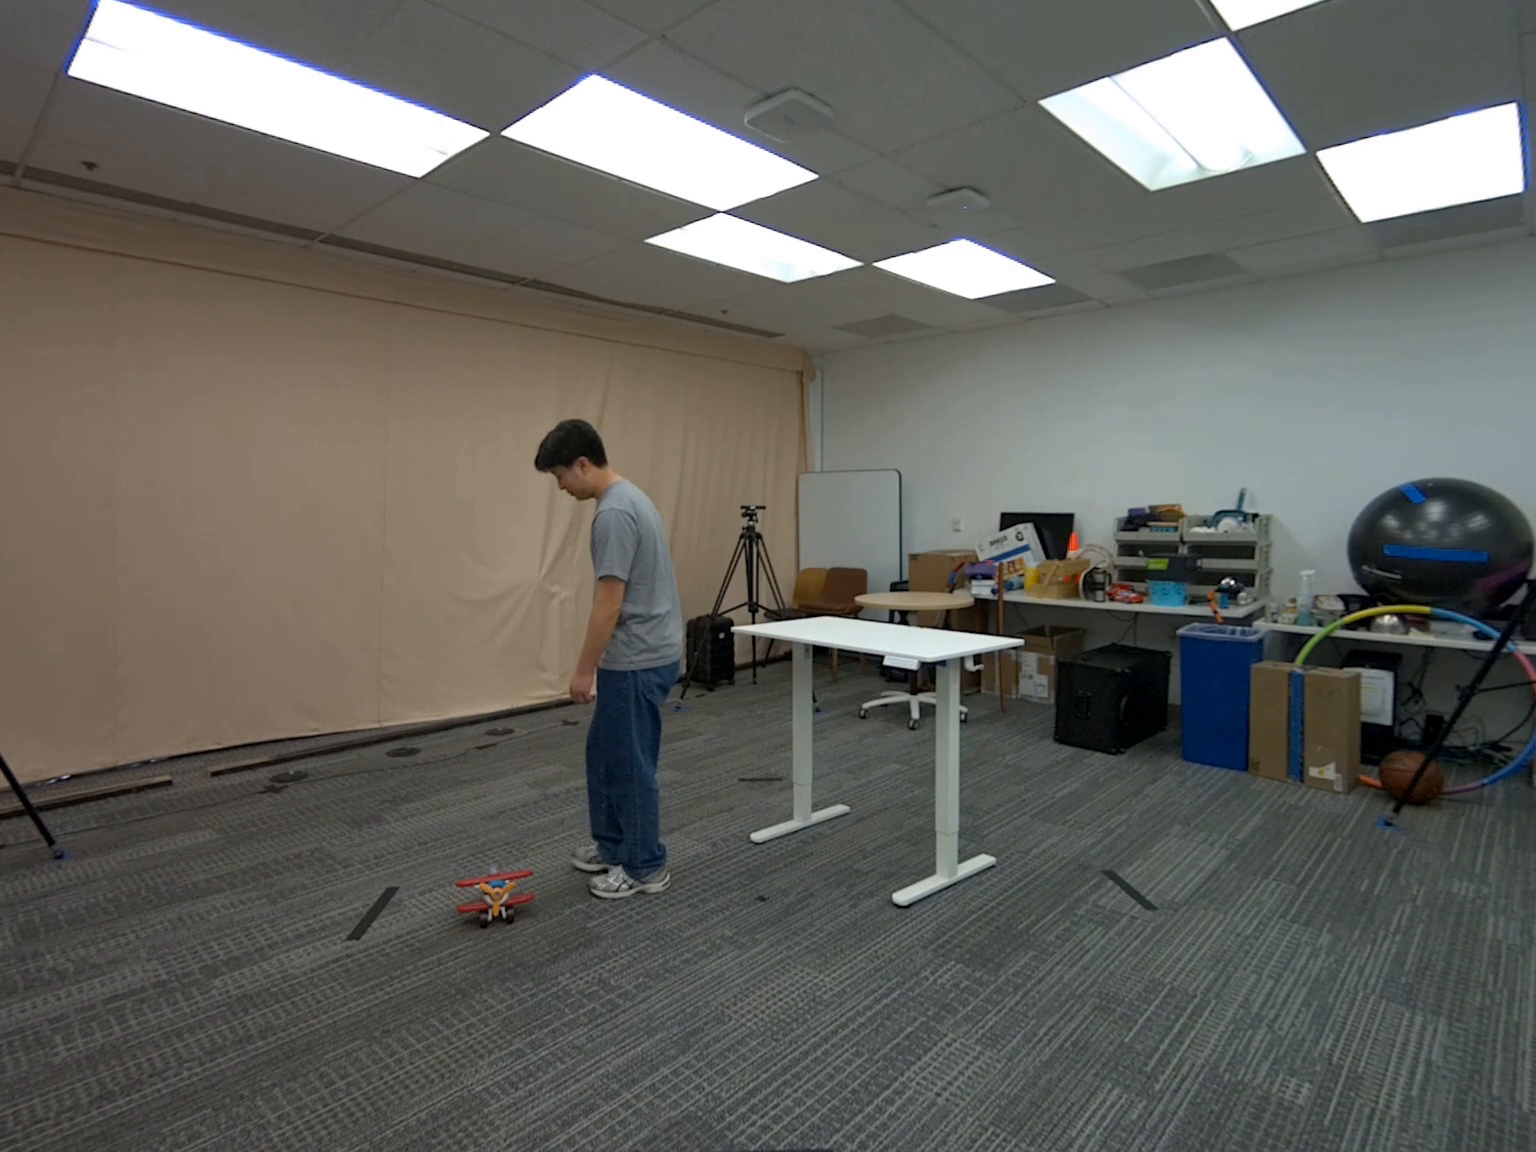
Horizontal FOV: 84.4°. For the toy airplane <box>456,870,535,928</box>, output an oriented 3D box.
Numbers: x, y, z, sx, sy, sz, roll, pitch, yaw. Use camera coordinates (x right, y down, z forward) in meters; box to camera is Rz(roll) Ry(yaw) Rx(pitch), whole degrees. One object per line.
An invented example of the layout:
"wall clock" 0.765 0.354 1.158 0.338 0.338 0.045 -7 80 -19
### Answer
"toy airplane" -0.960 1.085 2.878 0.268 0.156 0.243 4 6 40
